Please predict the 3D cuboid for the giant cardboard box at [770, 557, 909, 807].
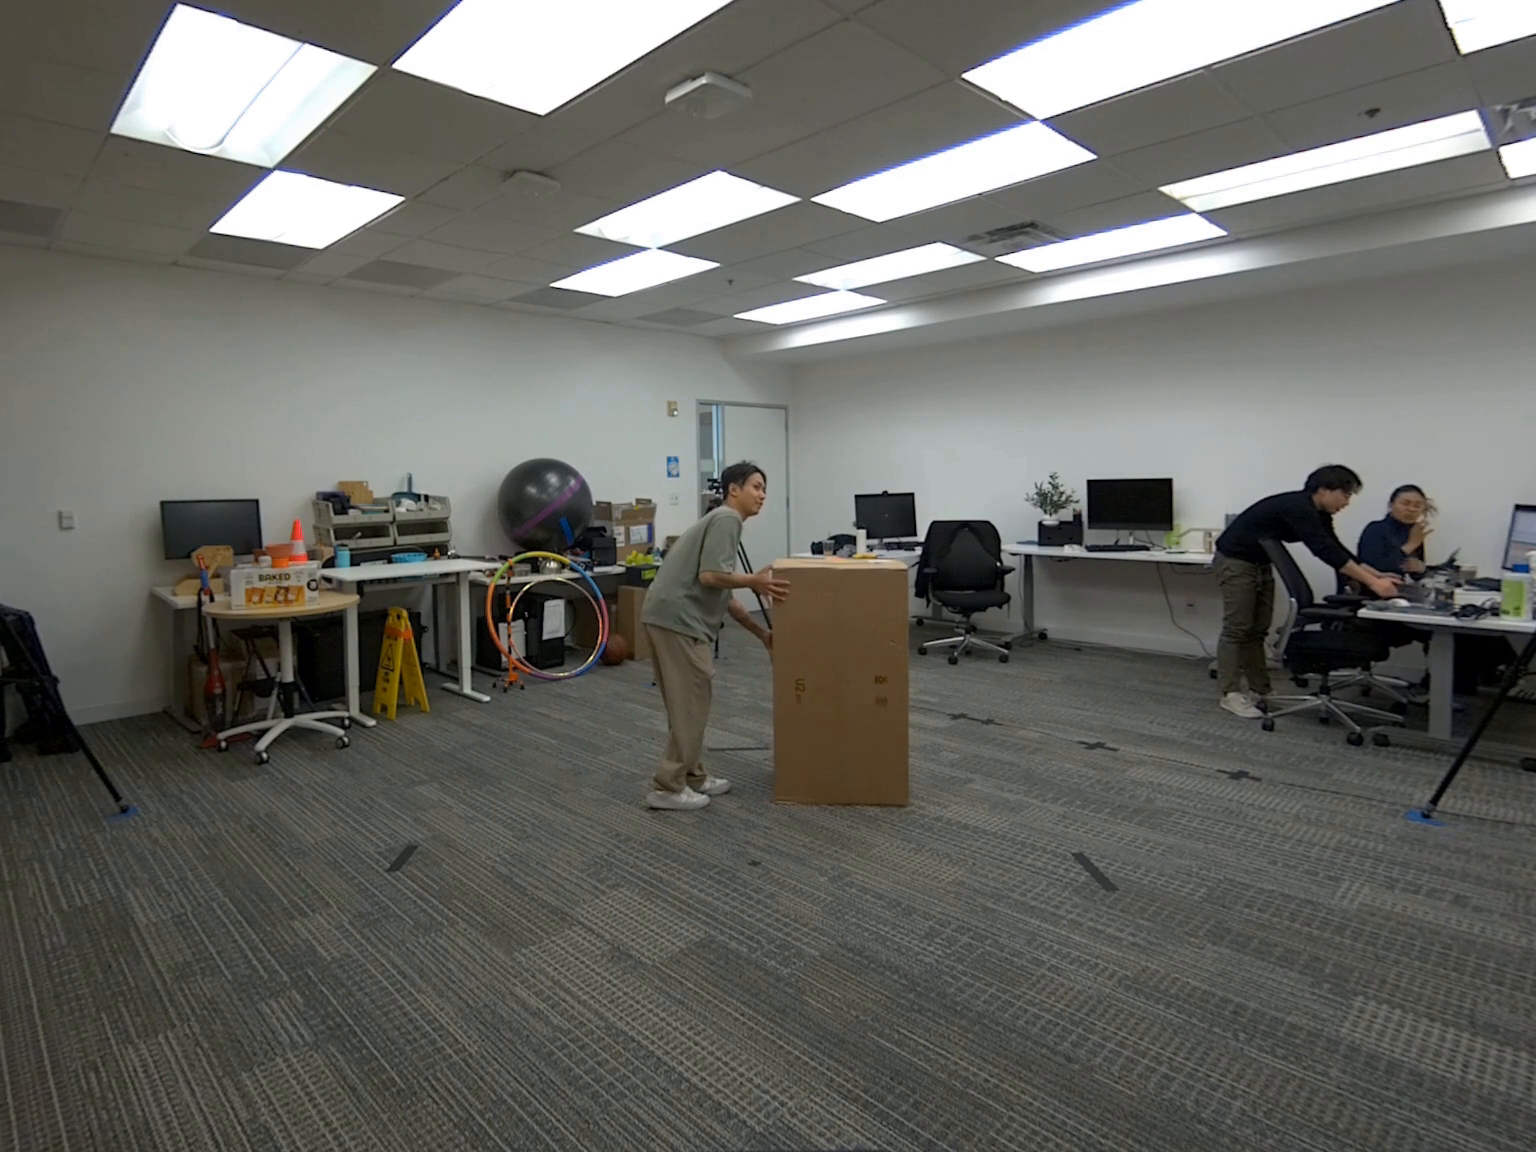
[{"bbox_3d":[0.320,0.447,3.817,0.581,1.022,0.425,0,4,5],"label":"giant cardboard box"}]
